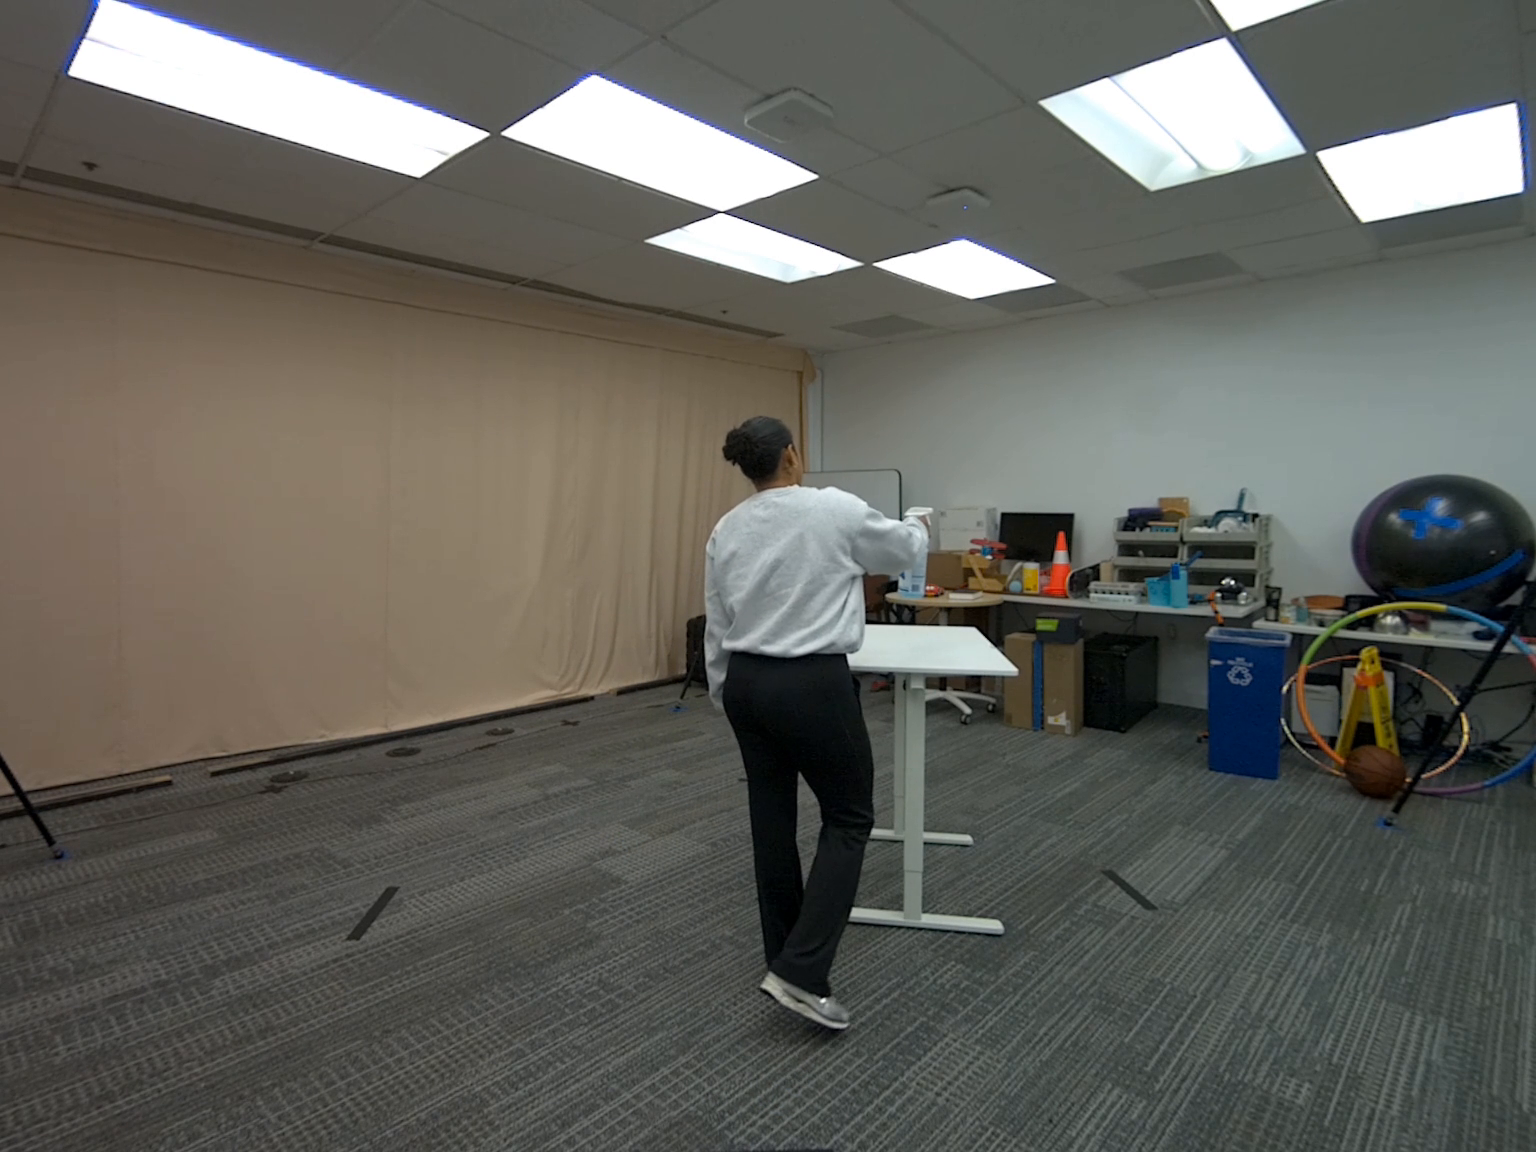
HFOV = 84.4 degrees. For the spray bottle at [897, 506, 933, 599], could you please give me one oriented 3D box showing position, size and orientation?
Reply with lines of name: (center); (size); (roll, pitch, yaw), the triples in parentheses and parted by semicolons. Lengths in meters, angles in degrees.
spray bottle: (0.494, -0.070, 2.761); (0.085, 0.295, 0.093); (-7, 14, -32)
